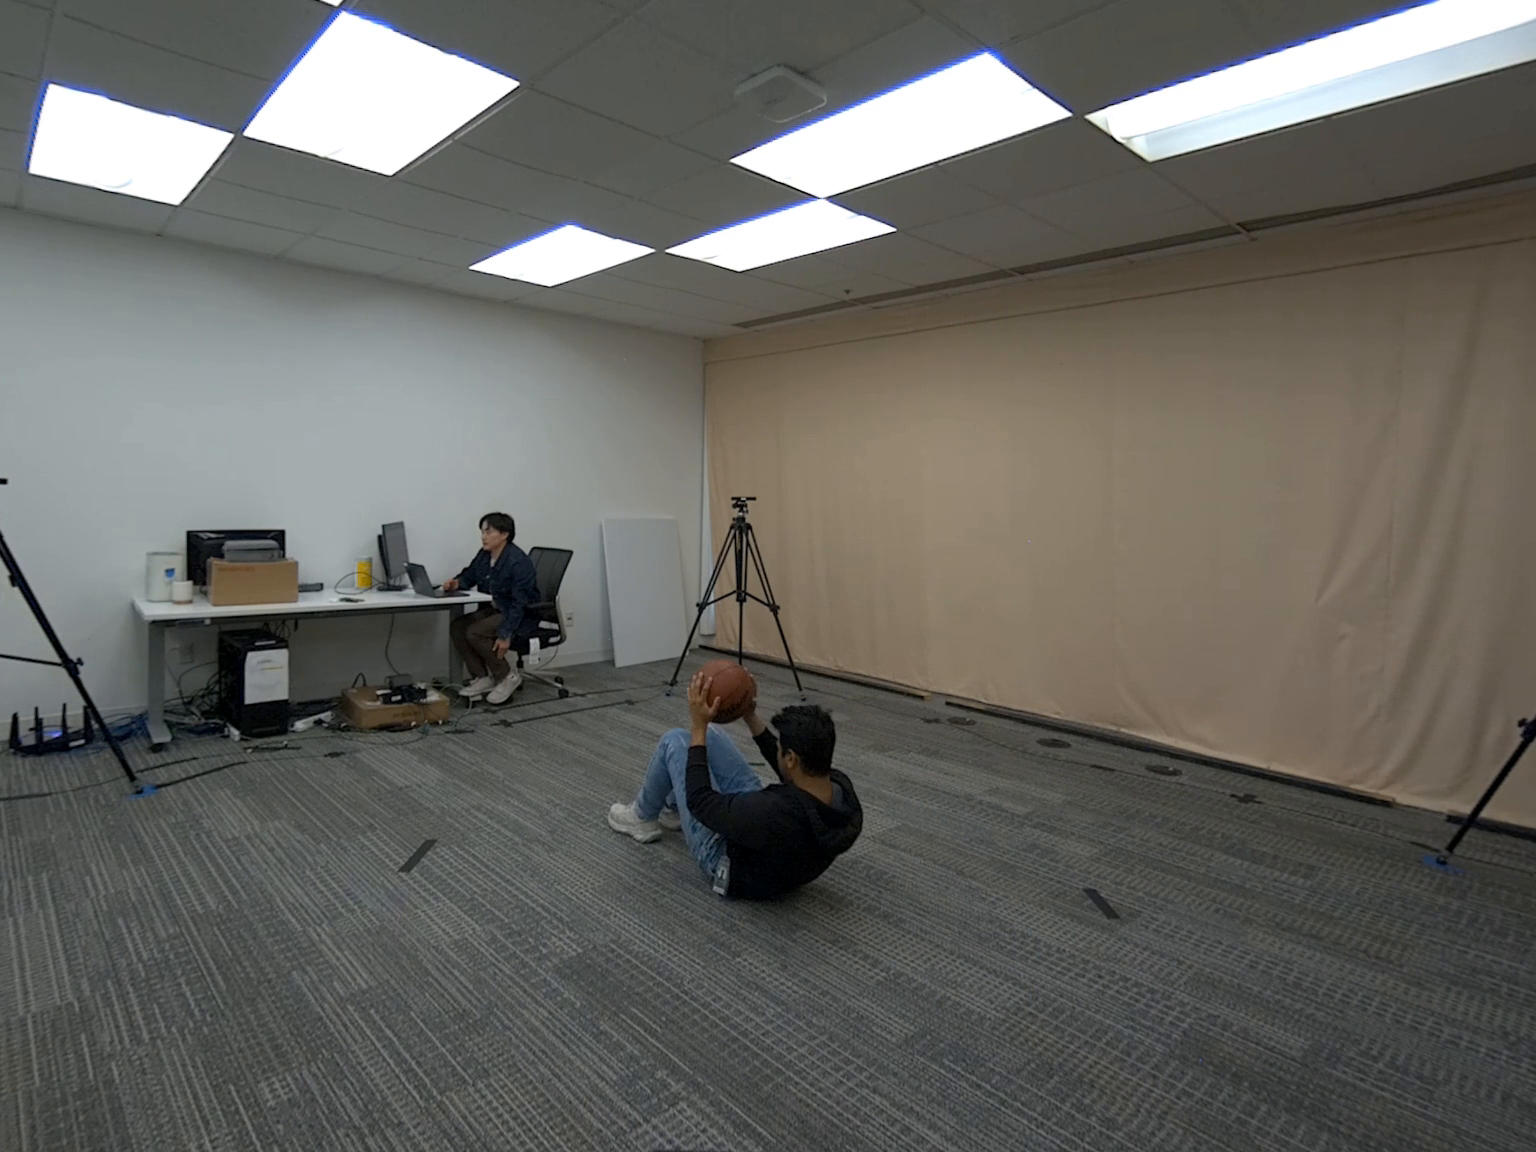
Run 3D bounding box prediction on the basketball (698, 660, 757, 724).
[{"bbox_3d":[-0.175,0.437,3.132,0.236,0.235,0.237,1,4,-1],"label":"basketball"}]
